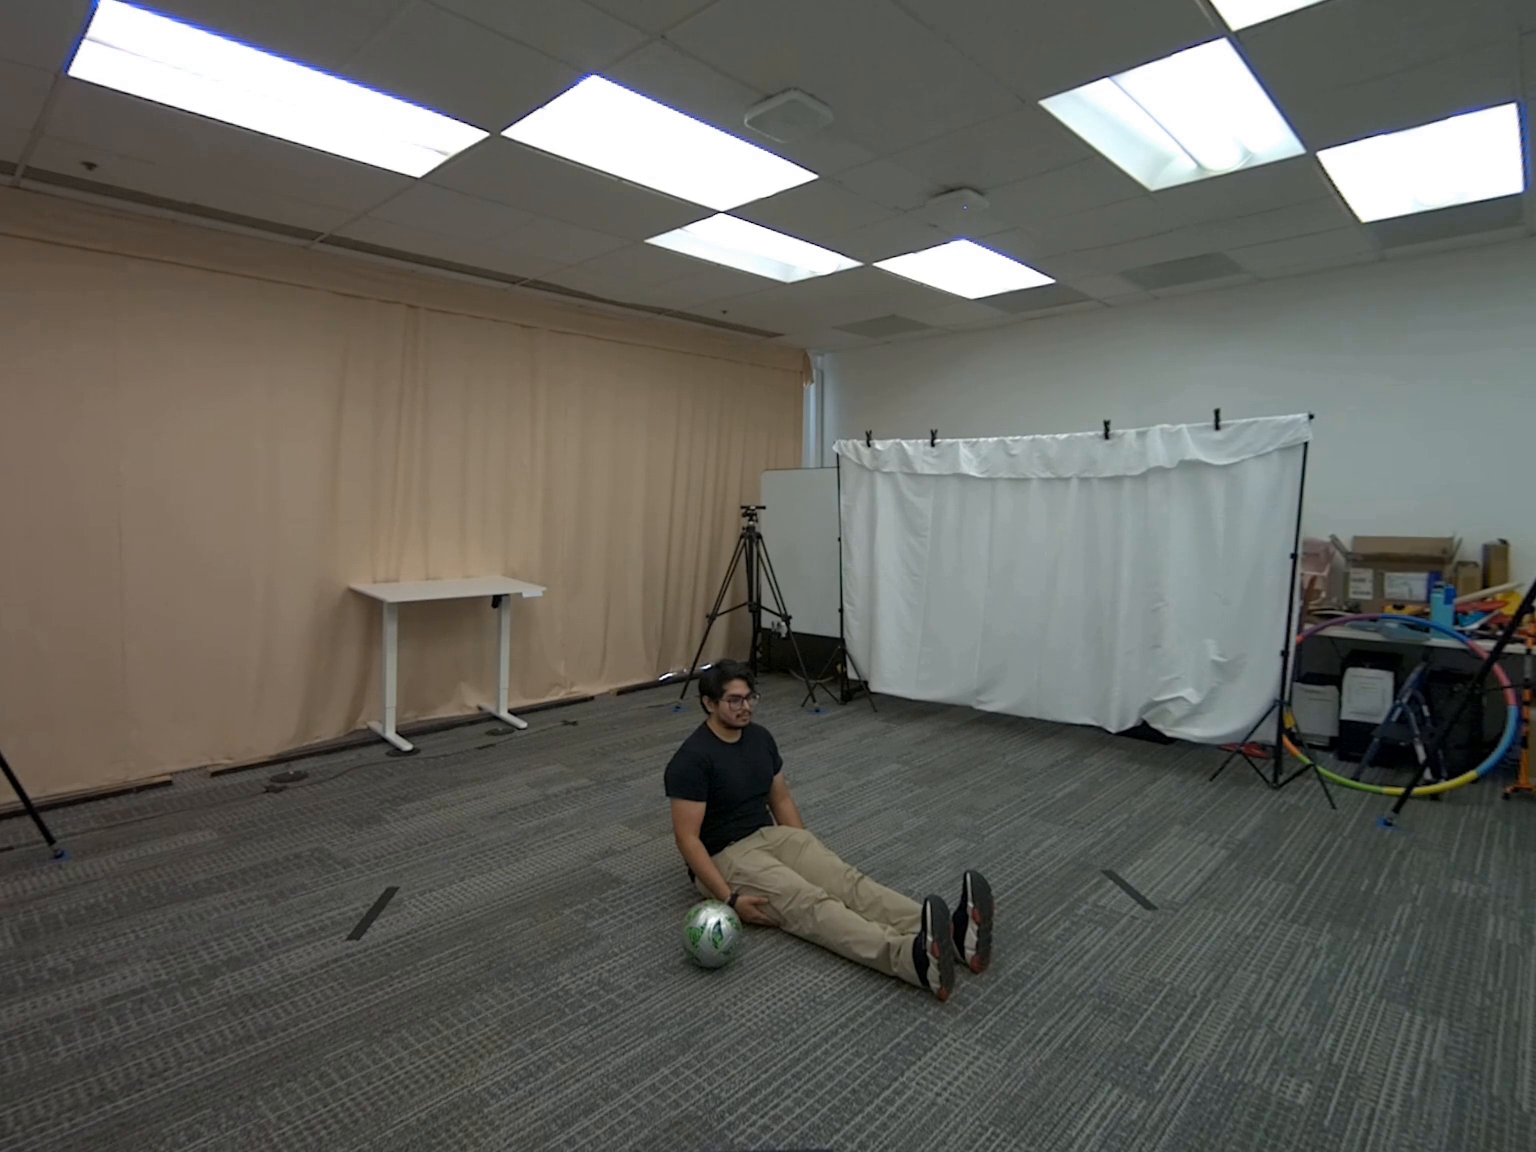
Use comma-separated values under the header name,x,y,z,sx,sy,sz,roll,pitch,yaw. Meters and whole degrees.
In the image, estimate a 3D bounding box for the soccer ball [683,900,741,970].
name,x,y,z,sx,sy,sz,roll,pitch,yaw
soccer ball,-0.166,1.078,2.562,0.187,0.187,0.188,0,4,-2
